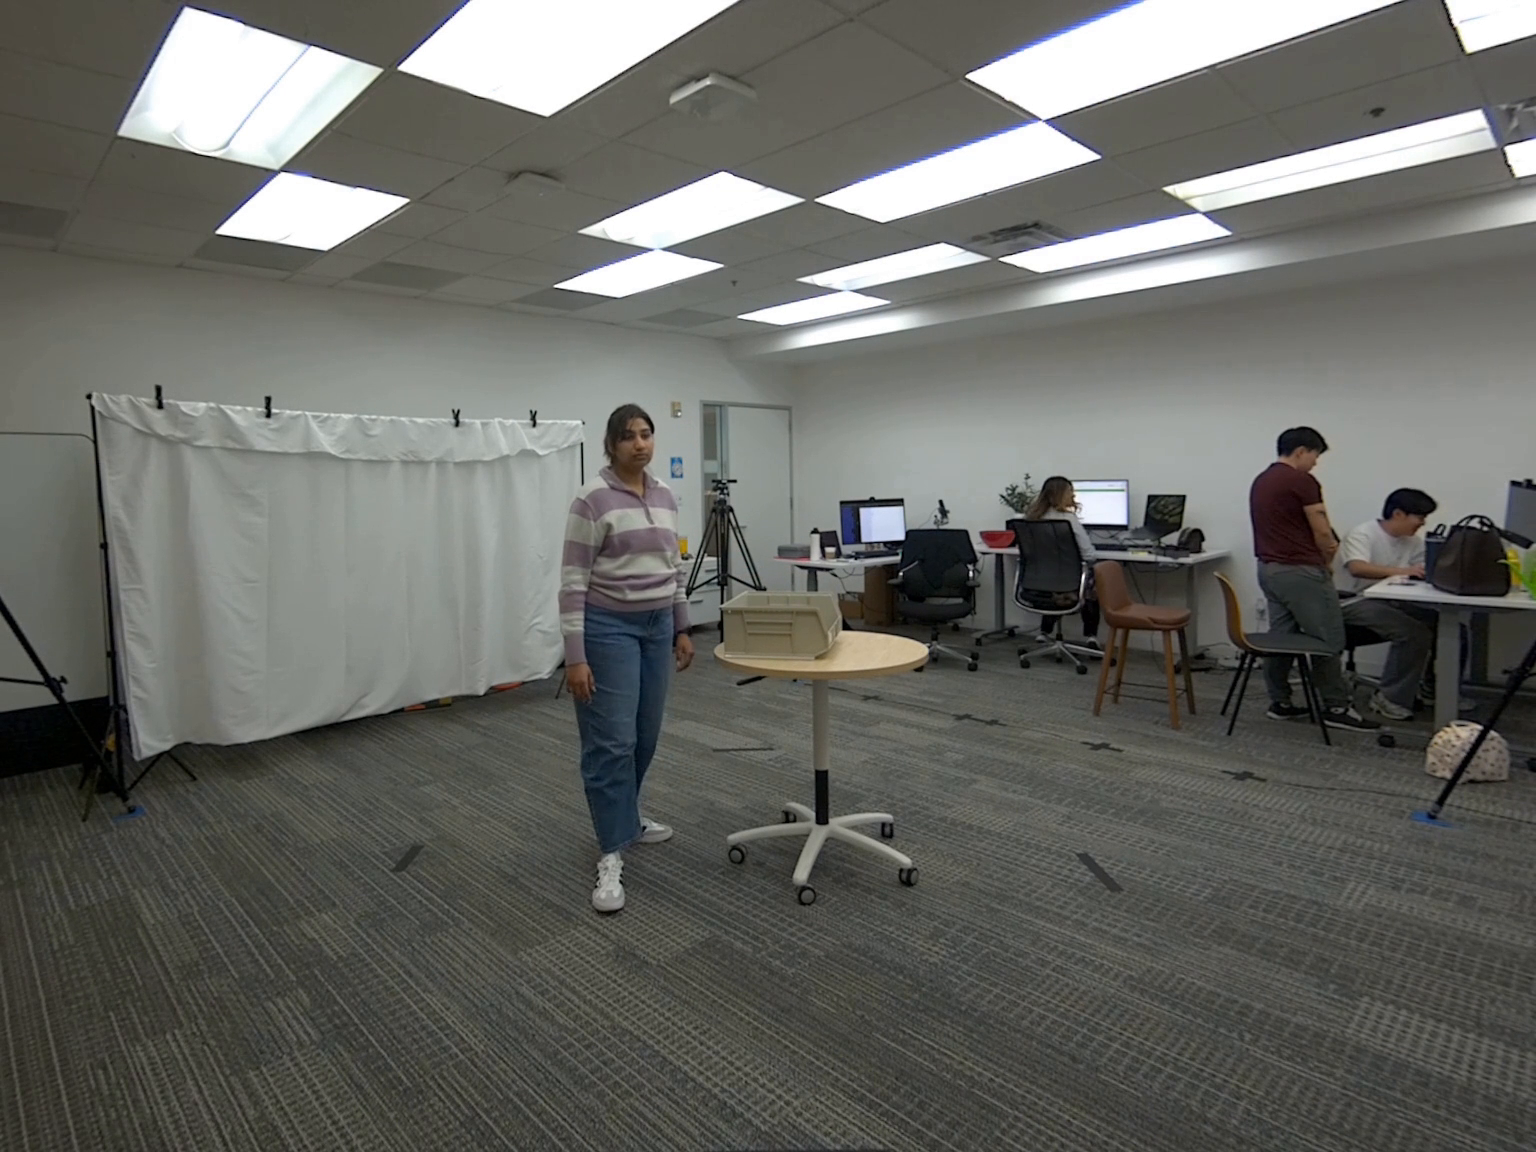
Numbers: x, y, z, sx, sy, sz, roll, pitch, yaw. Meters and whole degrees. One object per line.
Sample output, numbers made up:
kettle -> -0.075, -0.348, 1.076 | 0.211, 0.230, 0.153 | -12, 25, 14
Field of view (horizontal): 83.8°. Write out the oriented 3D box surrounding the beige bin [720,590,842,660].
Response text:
beige bin -> 0.056, 0.173, 3.100 | 0.382, 0.188, 0.419 | -1, 6, 12
